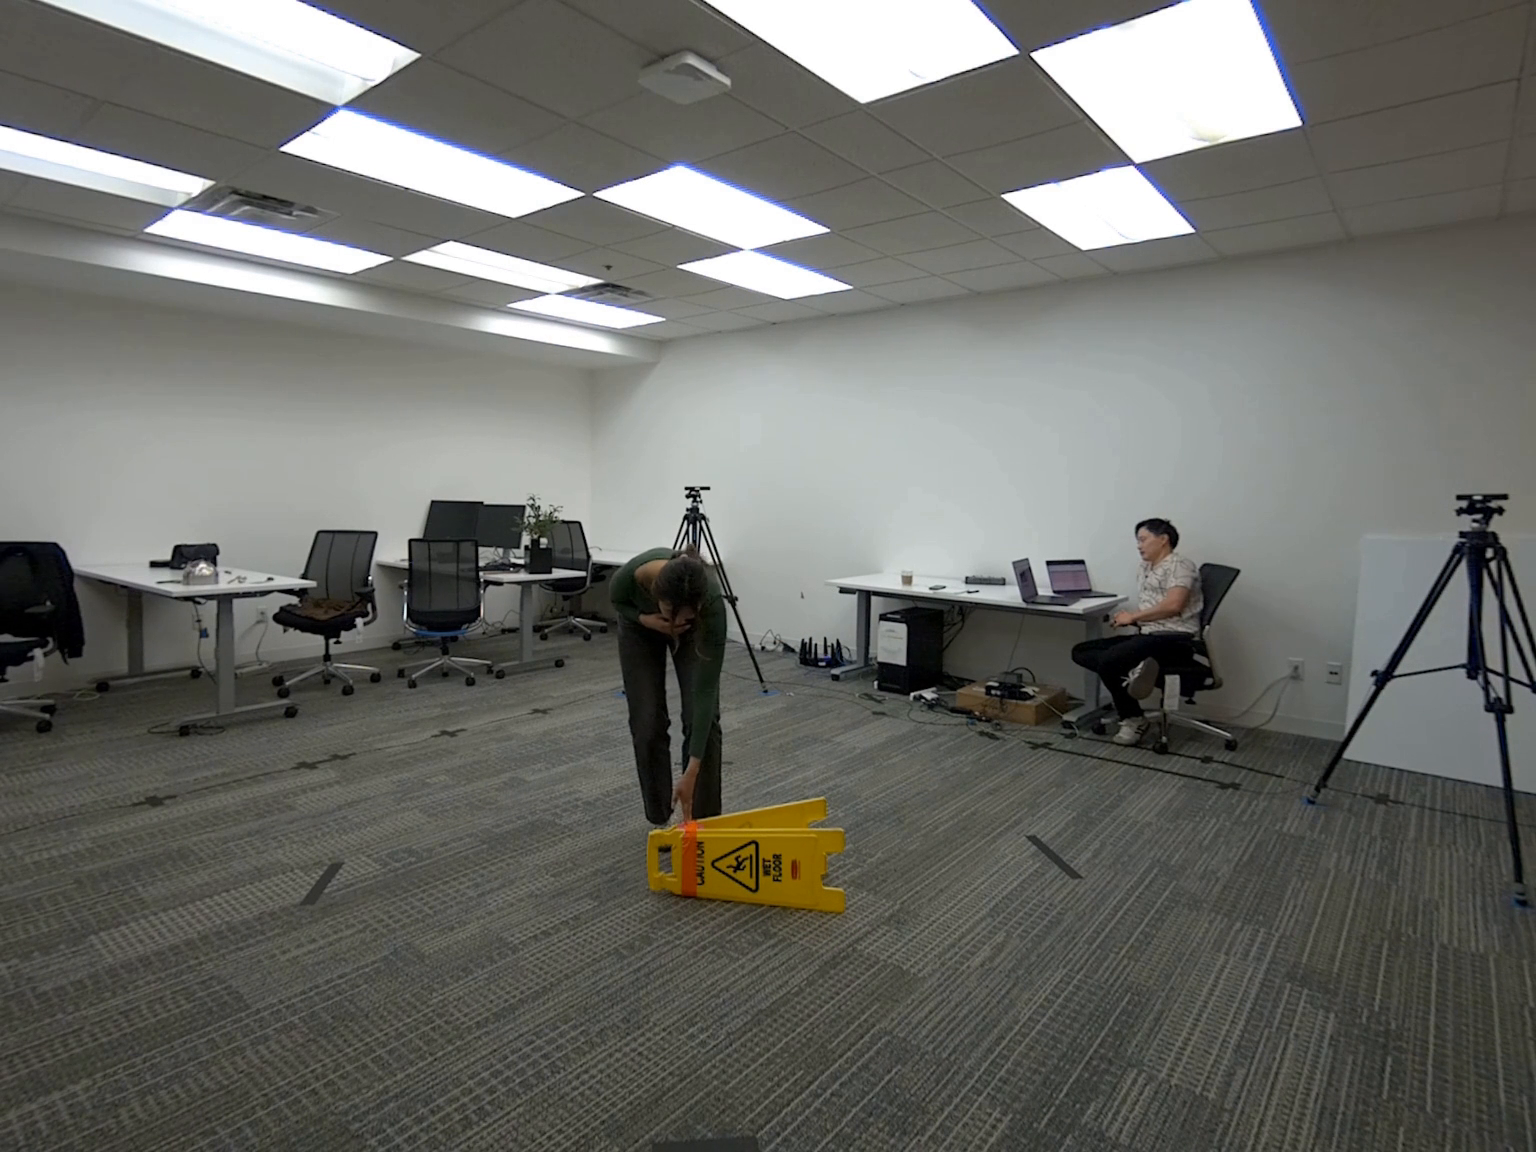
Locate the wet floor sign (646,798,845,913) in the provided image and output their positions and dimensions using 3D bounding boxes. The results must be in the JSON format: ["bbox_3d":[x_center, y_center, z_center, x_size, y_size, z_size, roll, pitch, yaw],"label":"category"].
[{"bbox_3d":[-0.100,0.955,2.908,0.643,0.281,0.292,-2,5,-5],"label":"wet floor sign"}]
